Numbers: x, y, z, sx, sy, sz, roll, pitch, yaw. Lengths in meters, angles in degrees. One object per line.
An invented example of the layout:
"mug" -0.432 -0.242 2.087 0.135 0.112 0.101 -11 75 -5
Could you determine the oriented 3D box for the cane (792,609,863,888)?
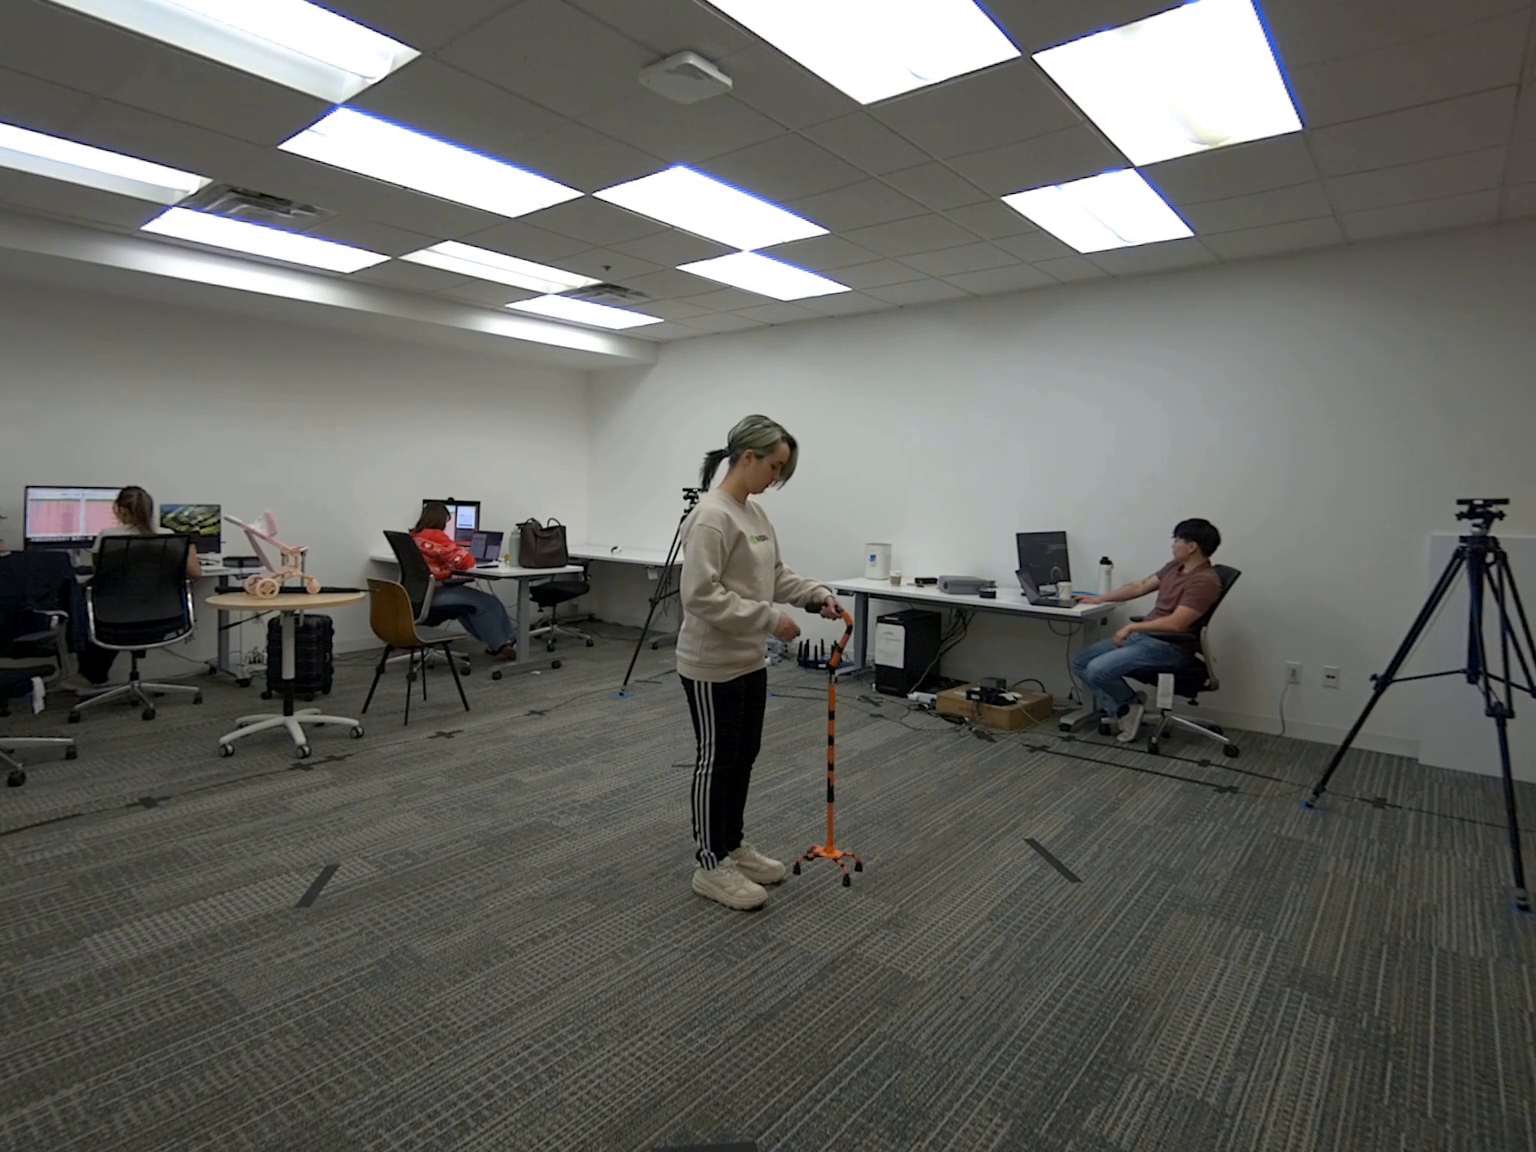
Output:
"cane" 0.207 0.564 2.855 0.210 0.905 0.149 2 3 15
